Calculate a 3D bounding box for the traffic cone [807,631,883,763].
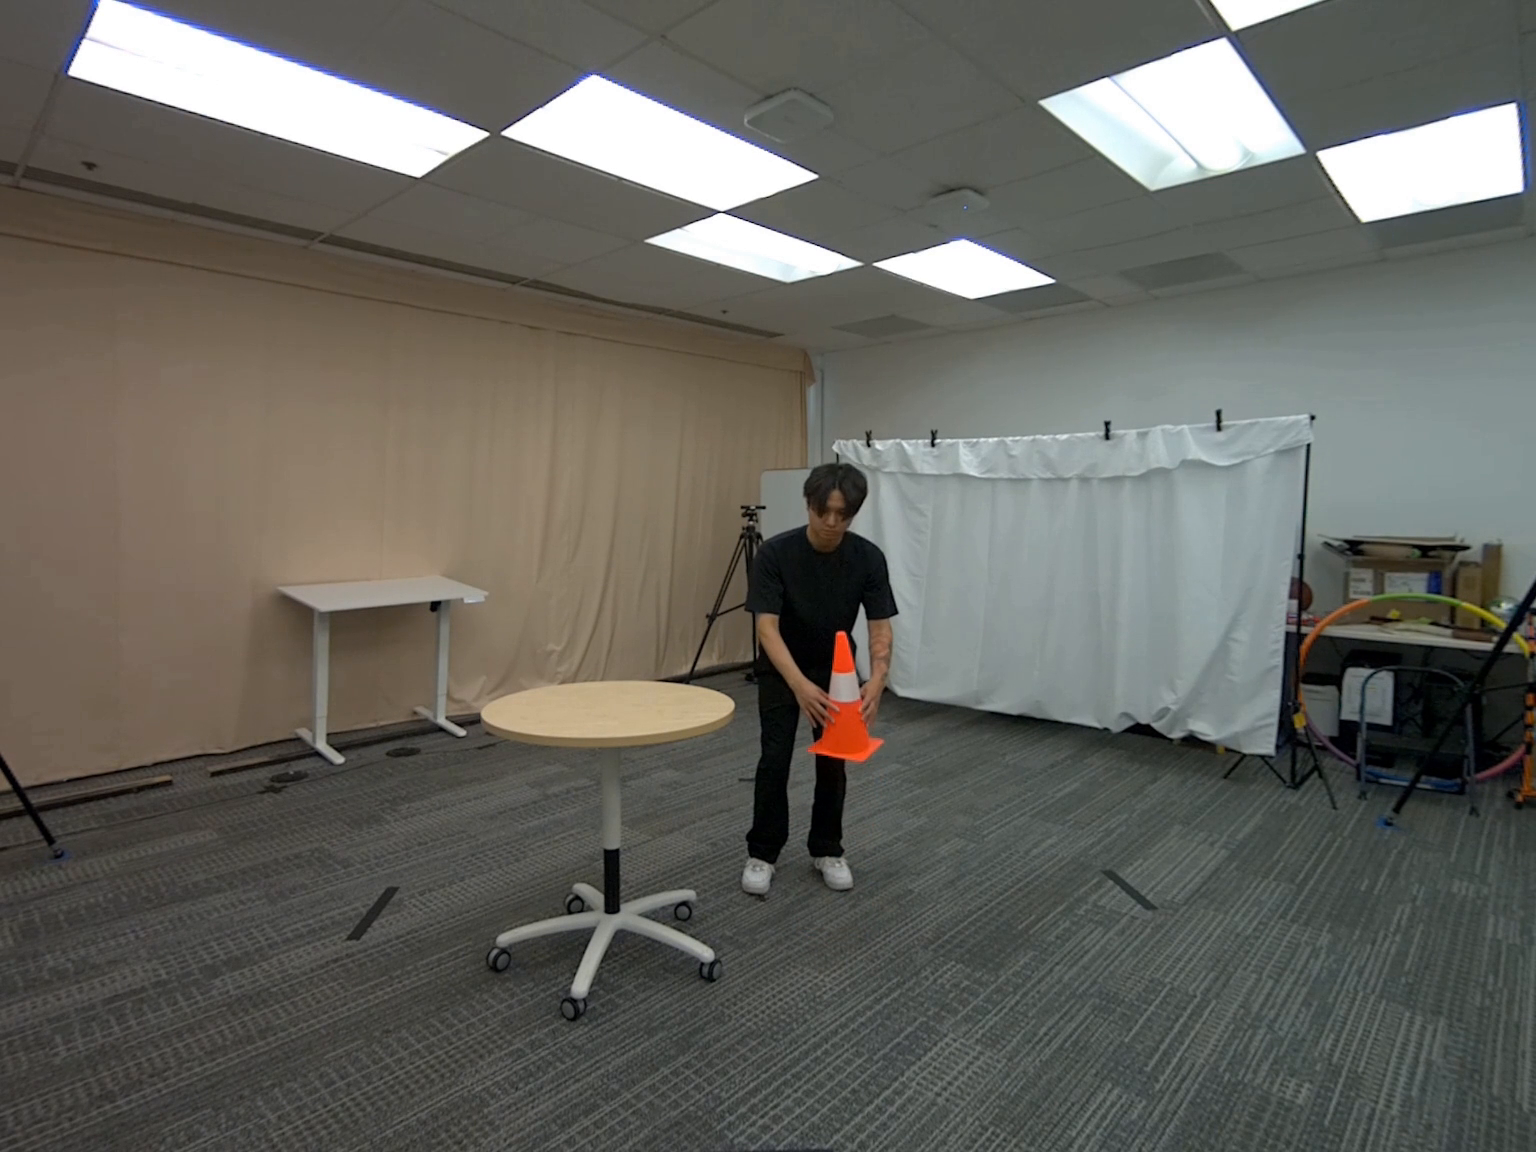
[{"bbox_3d":[0.238,0.373,2.720,0.210,0.381,0.200,3,10,35],"label":"traffic cone"}]
